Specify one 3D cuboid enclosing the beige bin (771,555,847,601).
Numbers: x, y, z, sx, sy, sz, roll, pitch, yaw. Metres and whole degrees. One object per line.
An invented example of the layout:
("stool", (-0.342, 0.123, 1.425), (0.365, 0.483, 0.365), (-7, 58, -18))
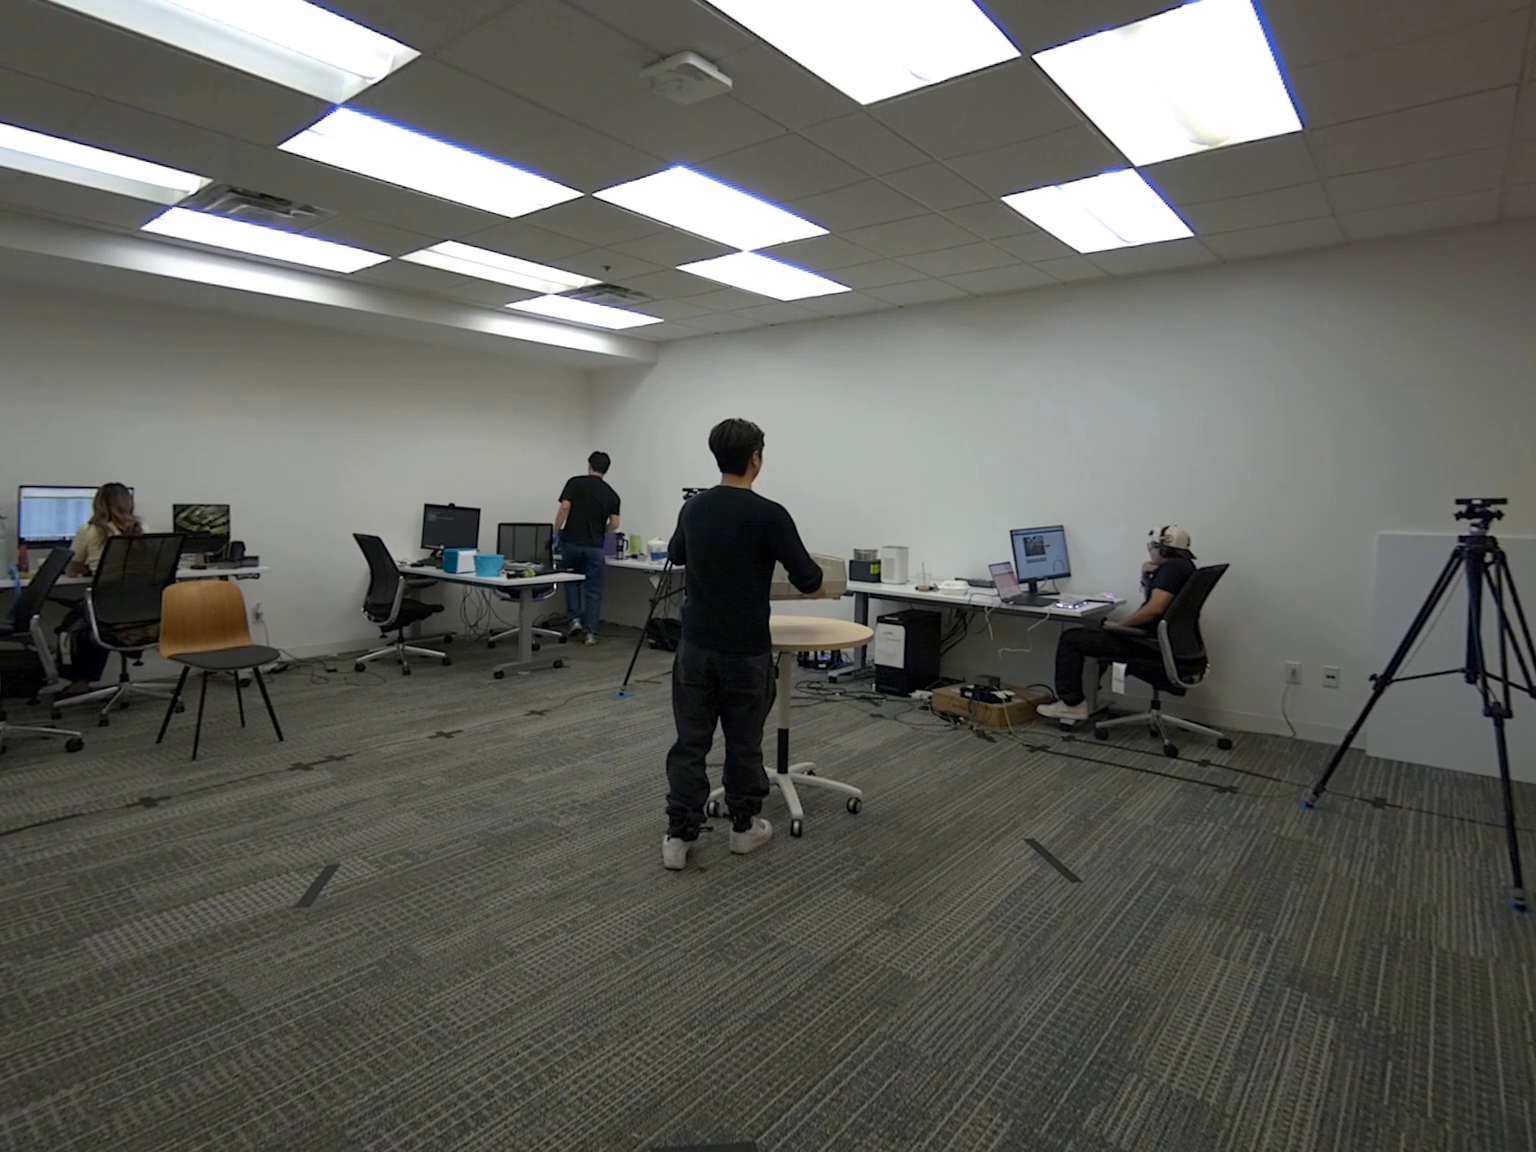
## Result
("beige bin", (0.068, 0.003, 3.681), (0.414, 0.188, 0.385), (-3, 4, -20))
